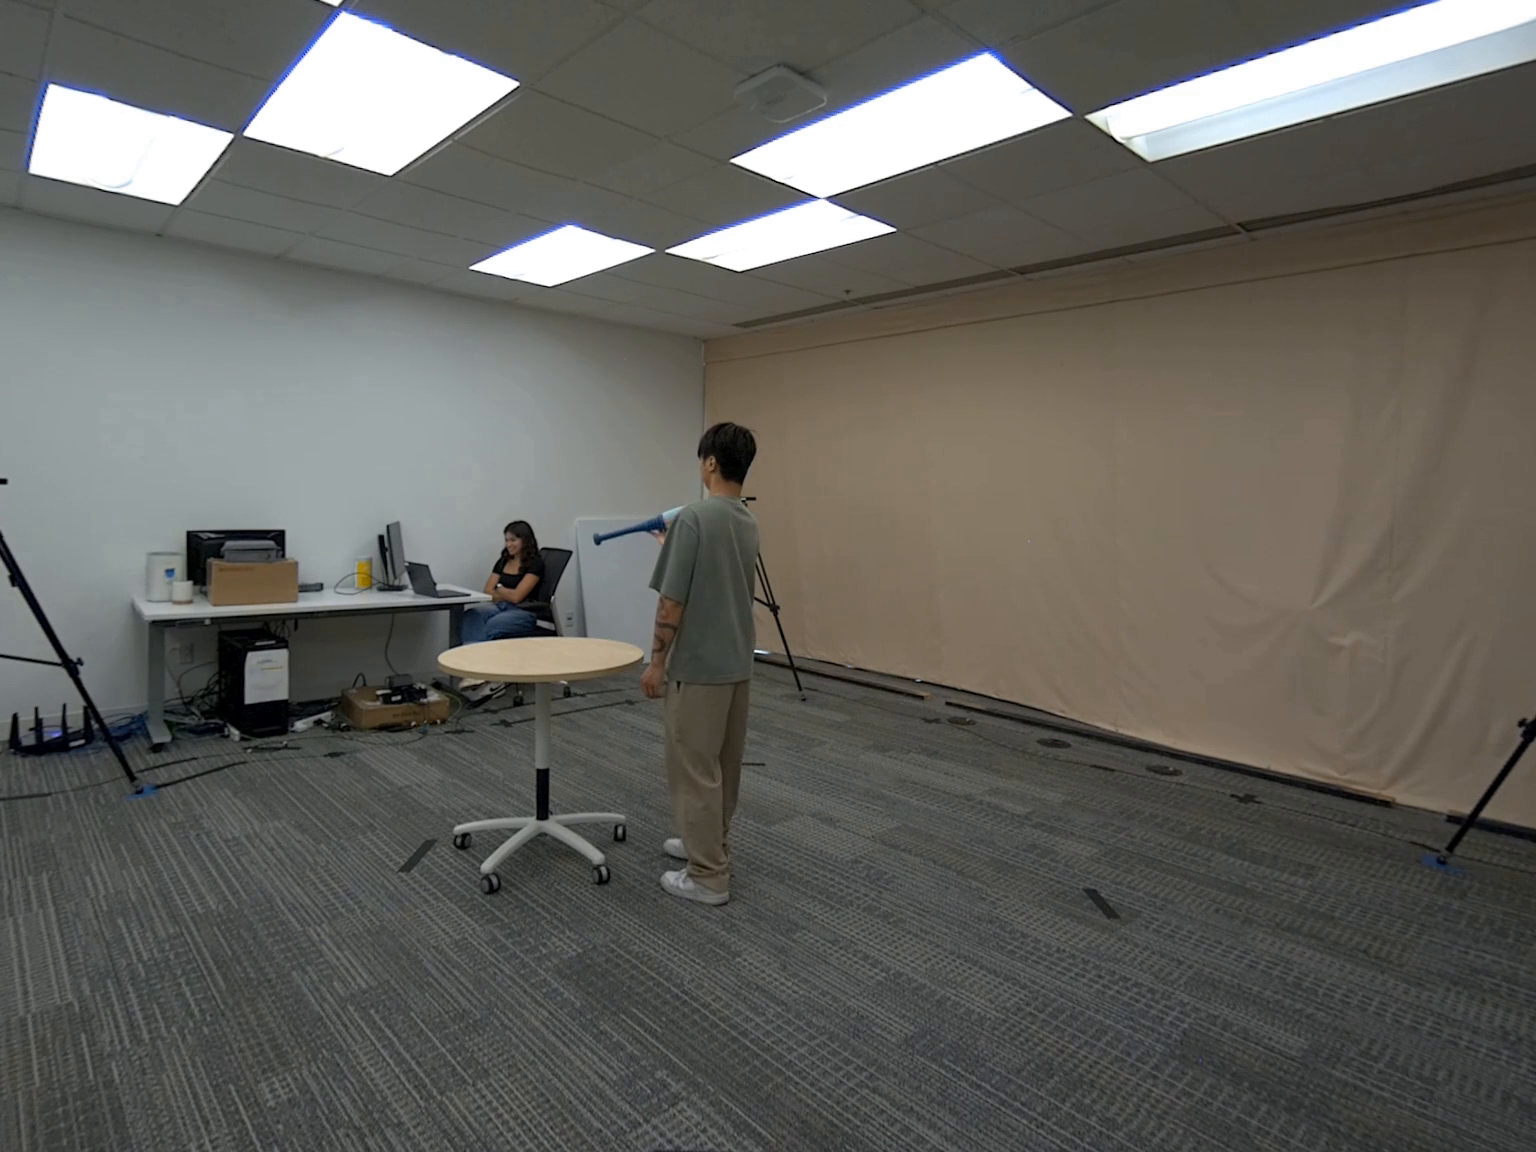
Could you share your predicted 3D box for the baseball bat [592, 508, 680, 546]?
[{"bbox_3d":[-0.454,-0.212,3.416,0.540,0.088,0.090,-16,7,-8],"label":"baseball bat"}]
